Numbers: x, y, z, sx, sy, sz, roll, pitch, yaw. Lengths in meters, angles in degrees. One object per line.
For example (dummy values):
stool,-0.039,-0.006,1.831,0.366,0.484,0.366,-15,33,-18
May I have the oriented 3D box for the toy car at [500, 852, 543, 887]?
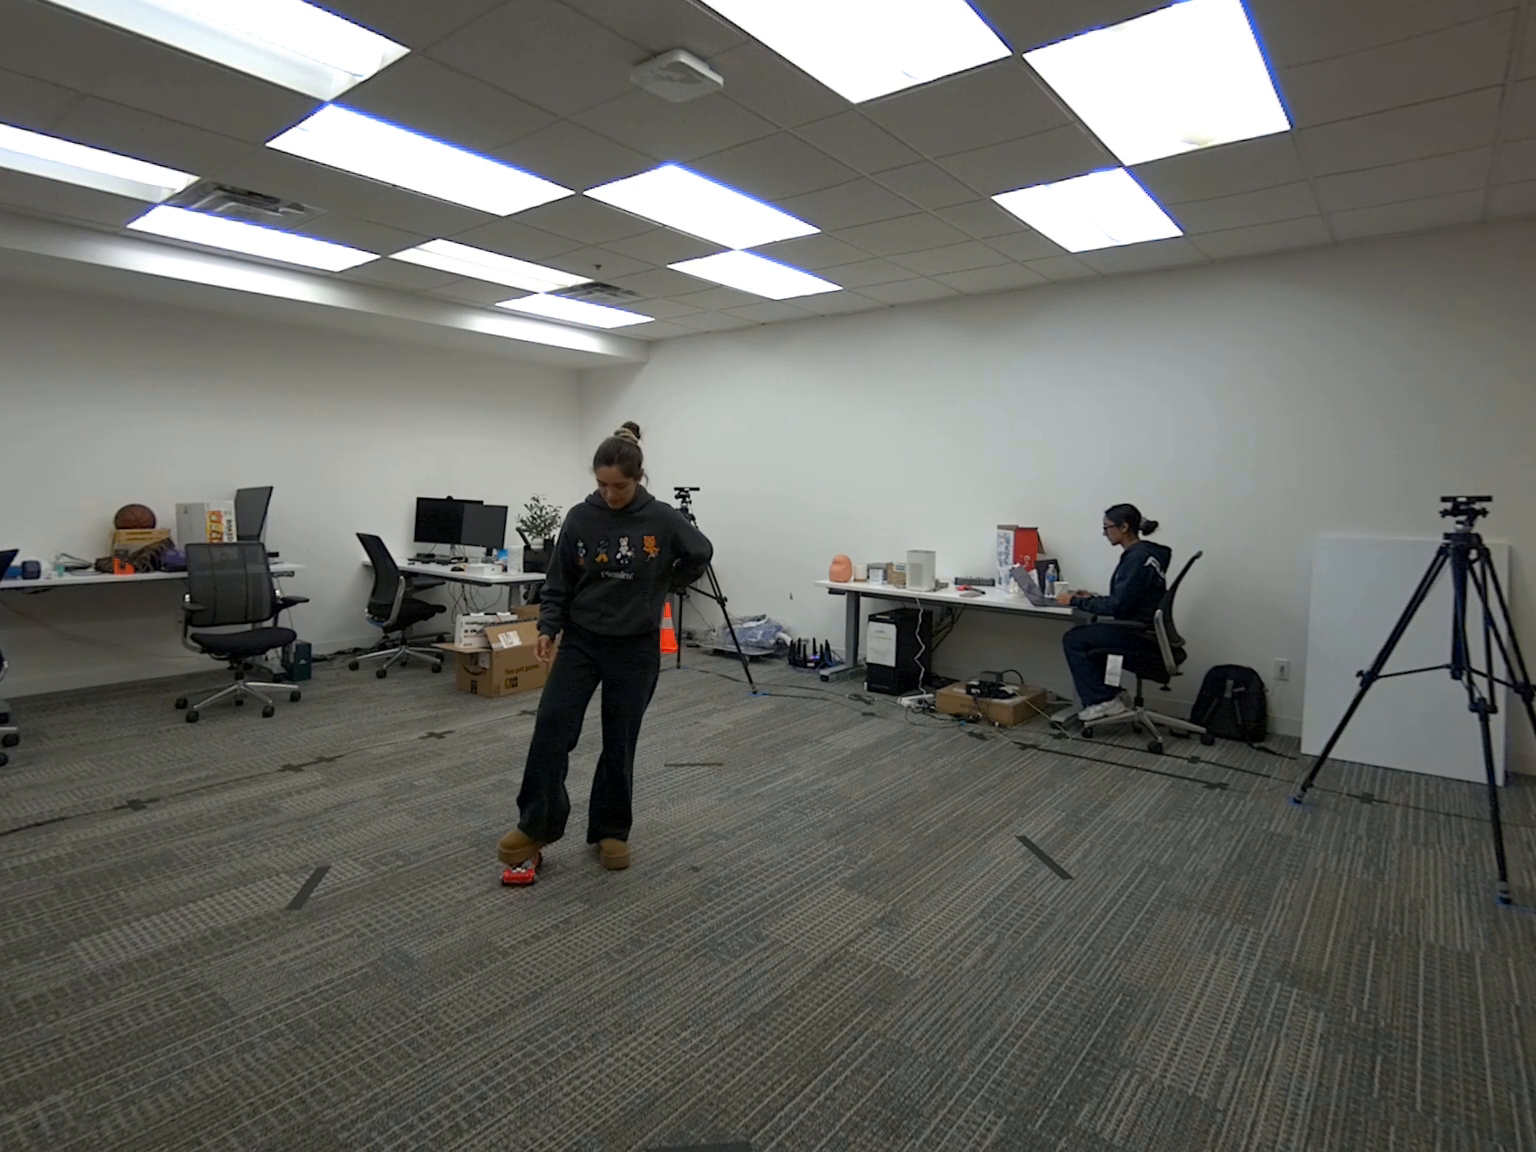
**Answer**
toy car,-0.884,1.039,3.058,0.129,0.082,0.260,0,16,-9
